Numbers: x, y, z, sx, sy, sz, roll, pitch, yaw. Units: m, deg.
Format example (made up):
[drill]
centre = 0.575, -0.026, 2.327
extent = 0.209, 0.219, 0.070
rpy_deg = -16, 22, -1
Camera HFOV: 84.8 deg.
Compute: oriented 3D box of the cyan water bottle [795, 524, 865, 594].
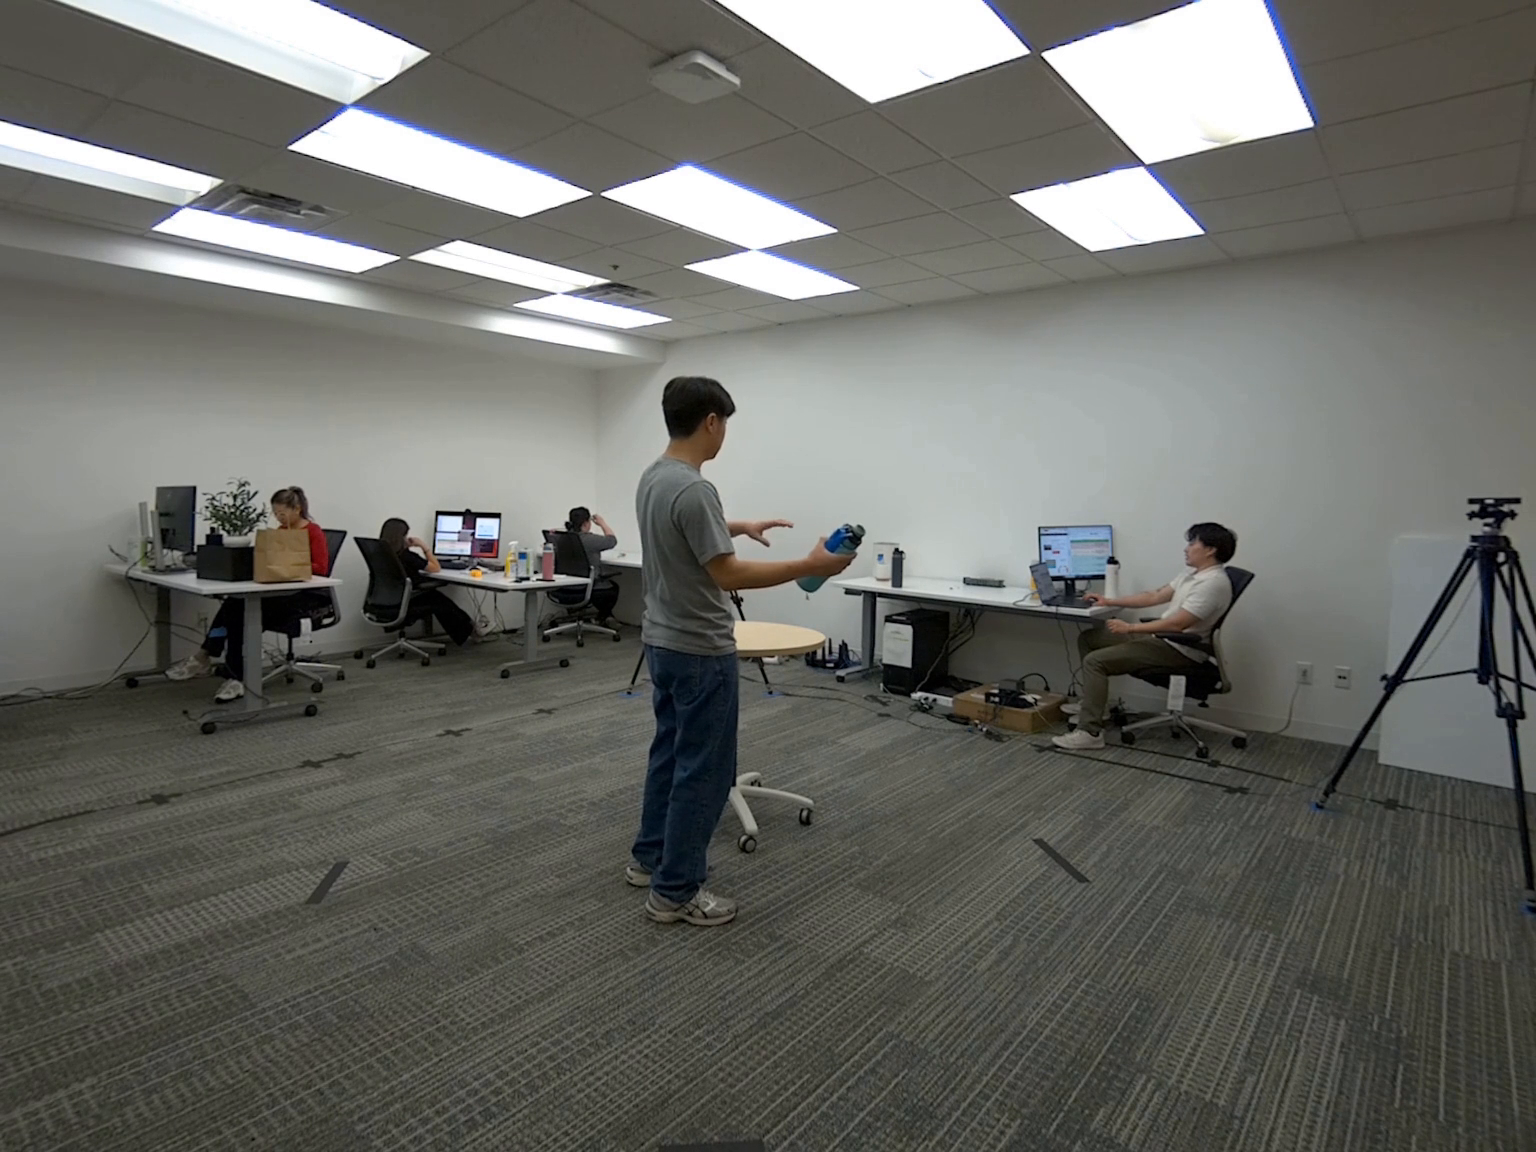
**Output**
[cyan water bottle]
centre = 0.179, -0.063, 2.648
extent = 0.089, 0.095, 0.283
rpy_deg = -2, -34, -42
